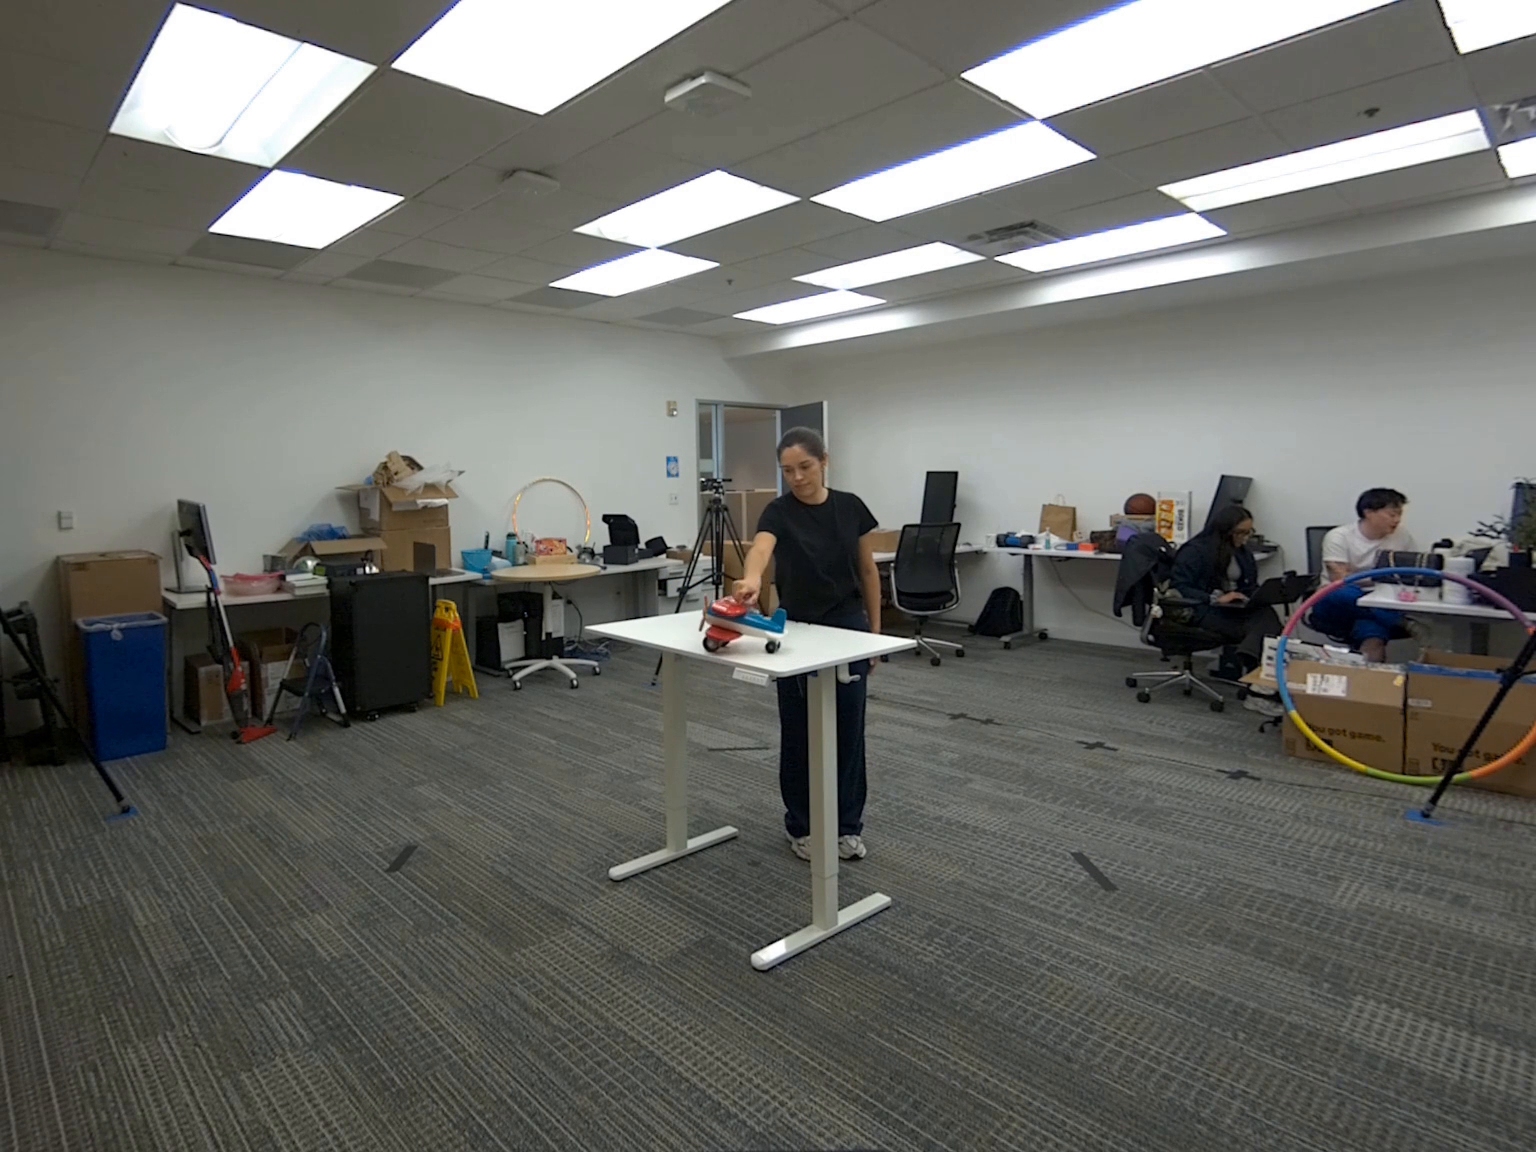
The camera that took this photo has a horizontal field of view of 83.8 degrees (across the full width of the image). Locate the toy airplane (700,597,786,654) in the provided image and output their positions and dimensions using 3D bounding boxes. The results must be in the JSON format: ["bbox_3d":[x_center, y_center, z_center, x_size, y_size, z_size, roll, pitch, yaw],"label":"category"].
[{"bbox_3d":[-0.067,0.142,2.599,0.257,0.156,0.254,-3,4,-11],"label":"toy airplane"}]
